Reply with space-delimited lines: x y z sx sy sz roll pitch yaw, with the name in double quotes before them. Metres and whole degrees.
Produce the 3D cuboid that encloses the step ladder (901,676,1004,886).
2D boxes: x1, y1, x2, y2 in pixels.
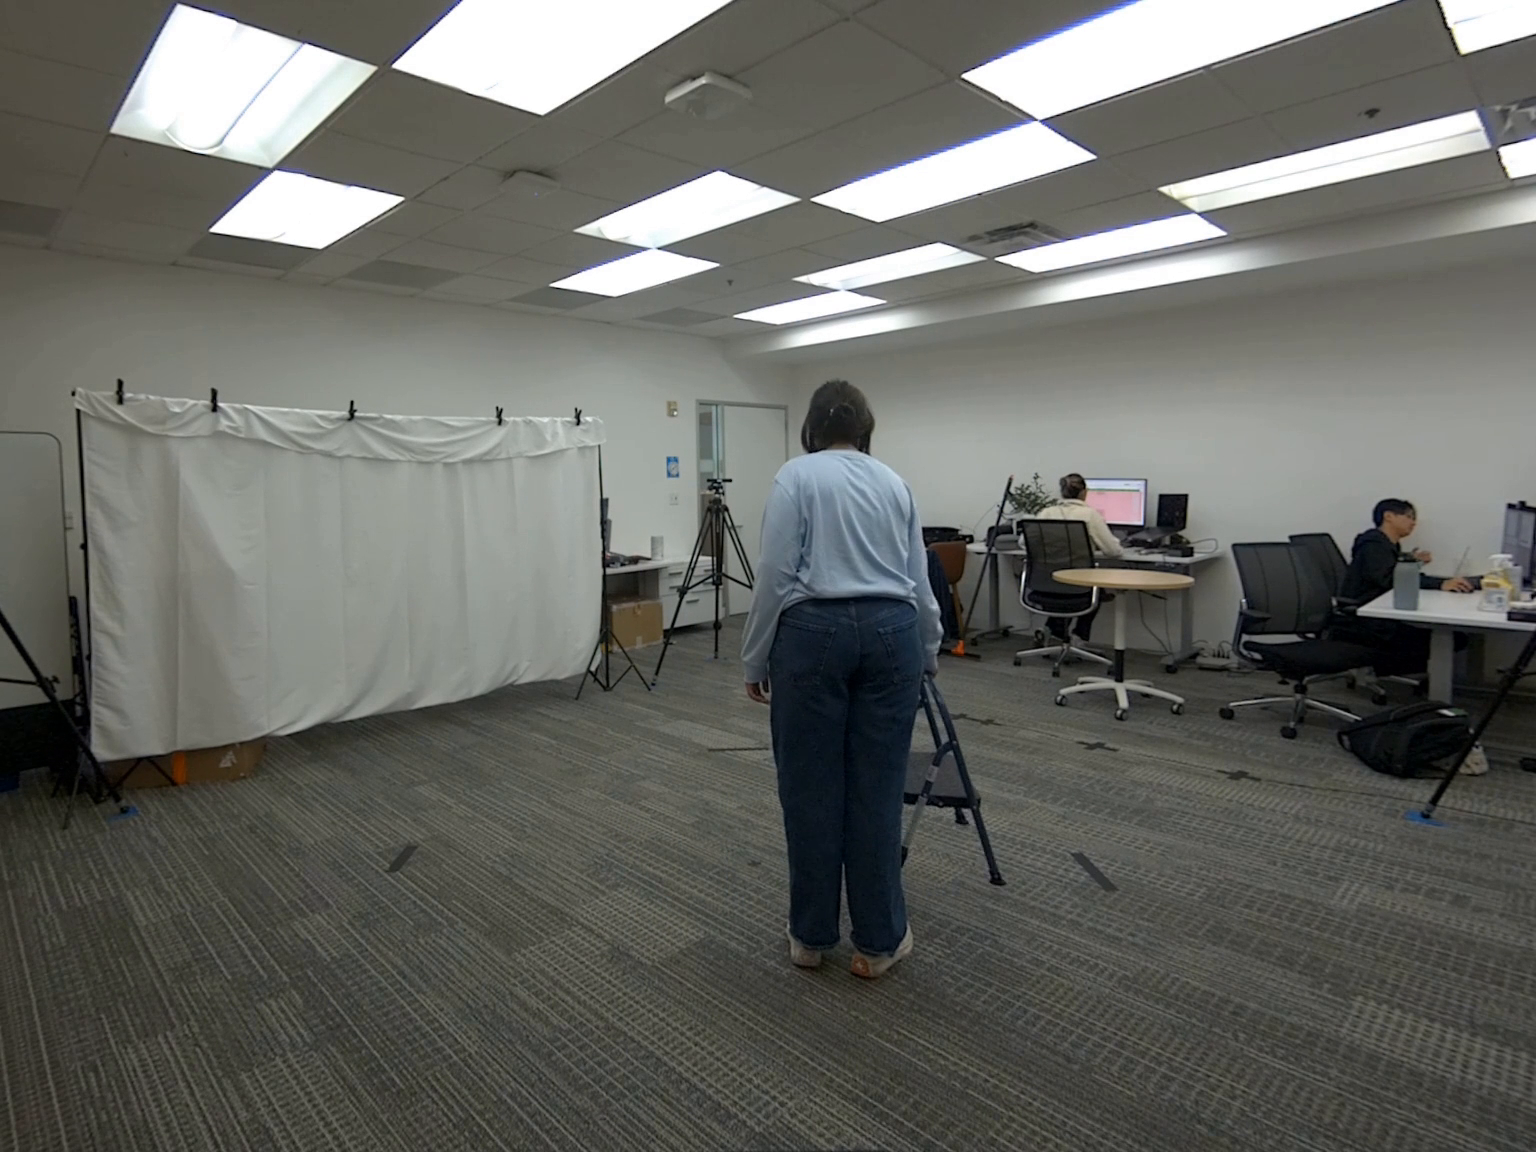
"step ladder" 0.564 0.608 2.765 0.348 0.602 0.434 3 7 -3
